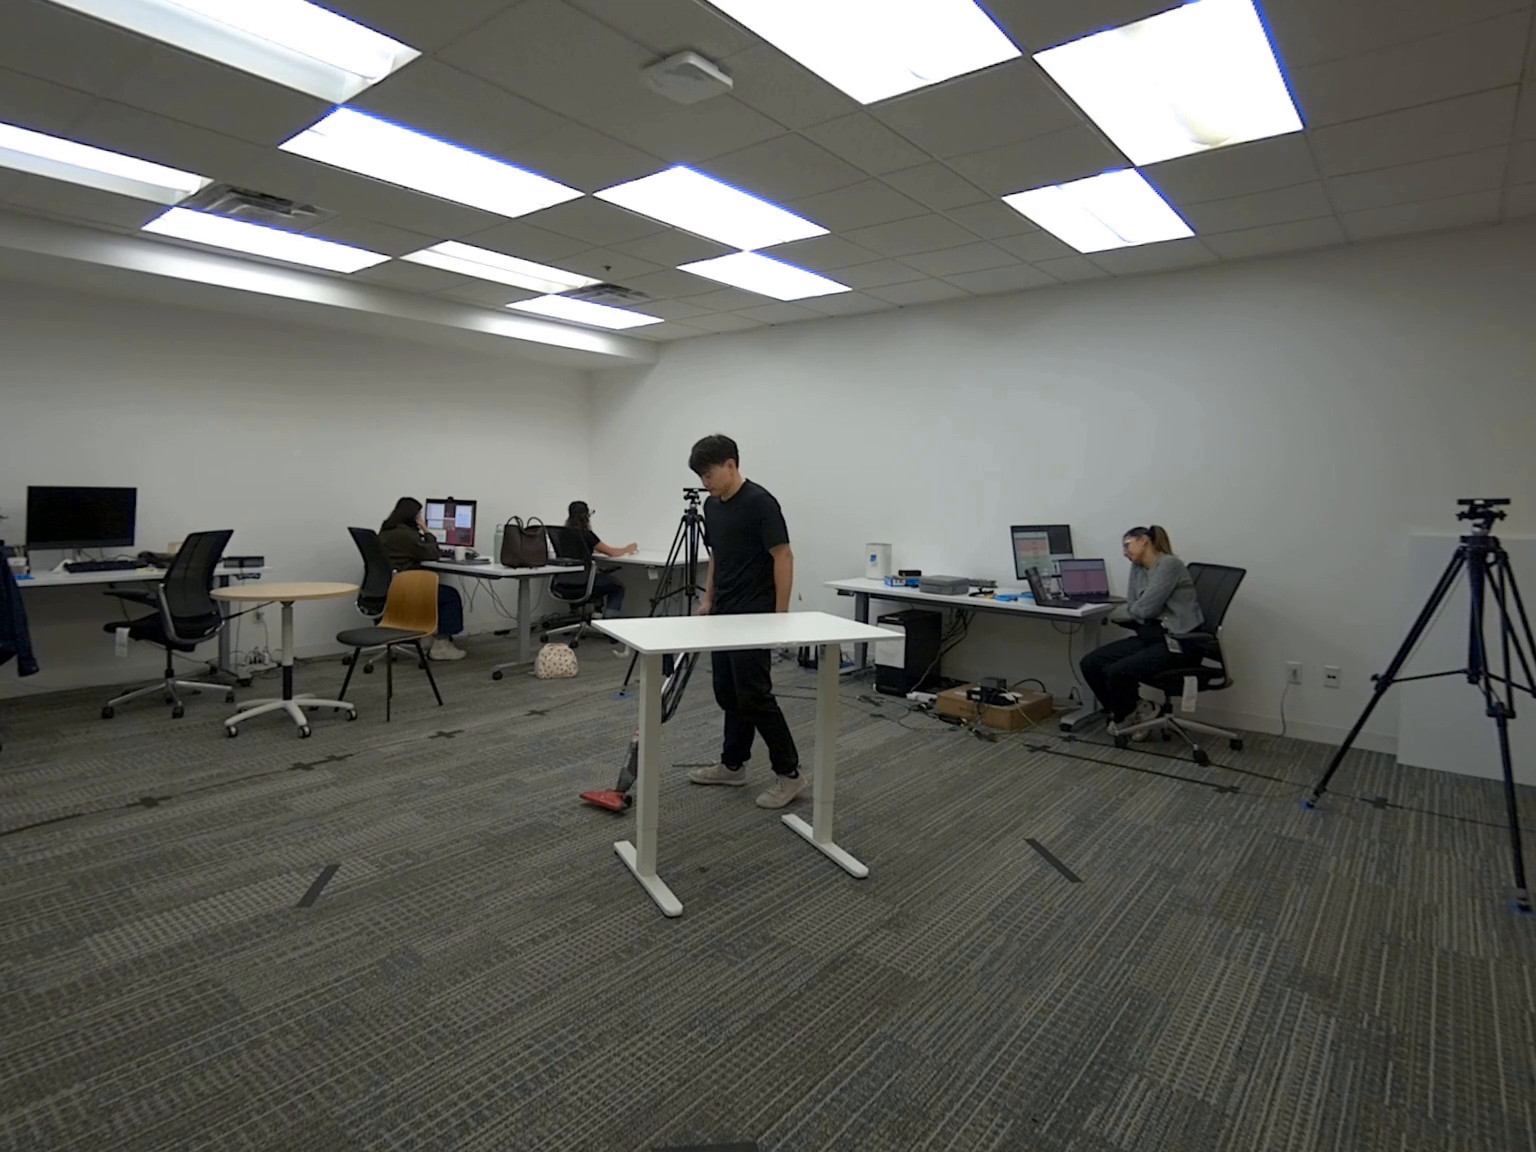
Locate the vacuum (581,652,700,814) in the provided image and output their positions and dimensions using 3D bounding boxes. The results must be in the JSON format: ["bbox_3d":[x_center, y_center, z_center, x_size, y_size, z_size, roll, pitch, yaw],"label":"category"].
[{"bbox_3d":[-0.504,0.599,3.968,0.260,1.059,0.138,2,-41,33],"label":"vacuum"}]
